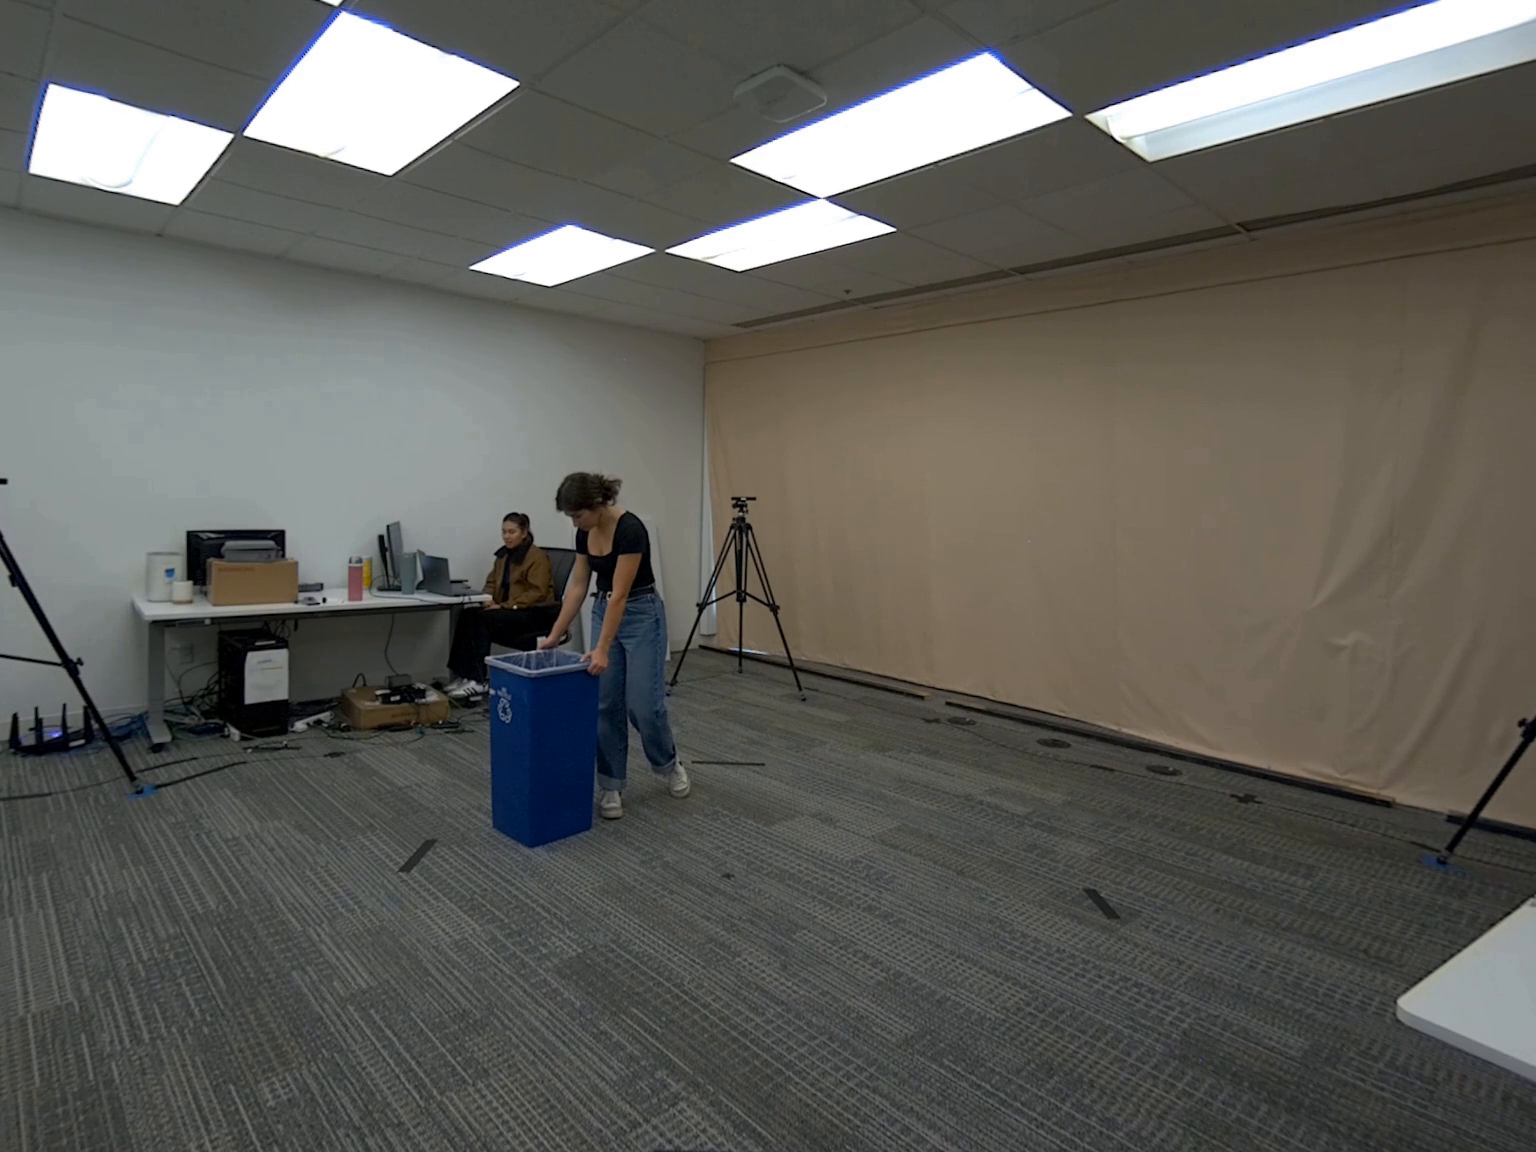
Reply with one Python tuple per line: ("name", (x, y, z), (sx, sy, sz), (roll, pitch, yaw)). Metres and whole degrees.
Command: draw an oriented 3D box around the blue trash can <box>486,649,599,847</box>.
("blue trash can", (-0.937, 0.697, 3.491), (0.383, 0.712, 0.369), (4, 5, 43))
